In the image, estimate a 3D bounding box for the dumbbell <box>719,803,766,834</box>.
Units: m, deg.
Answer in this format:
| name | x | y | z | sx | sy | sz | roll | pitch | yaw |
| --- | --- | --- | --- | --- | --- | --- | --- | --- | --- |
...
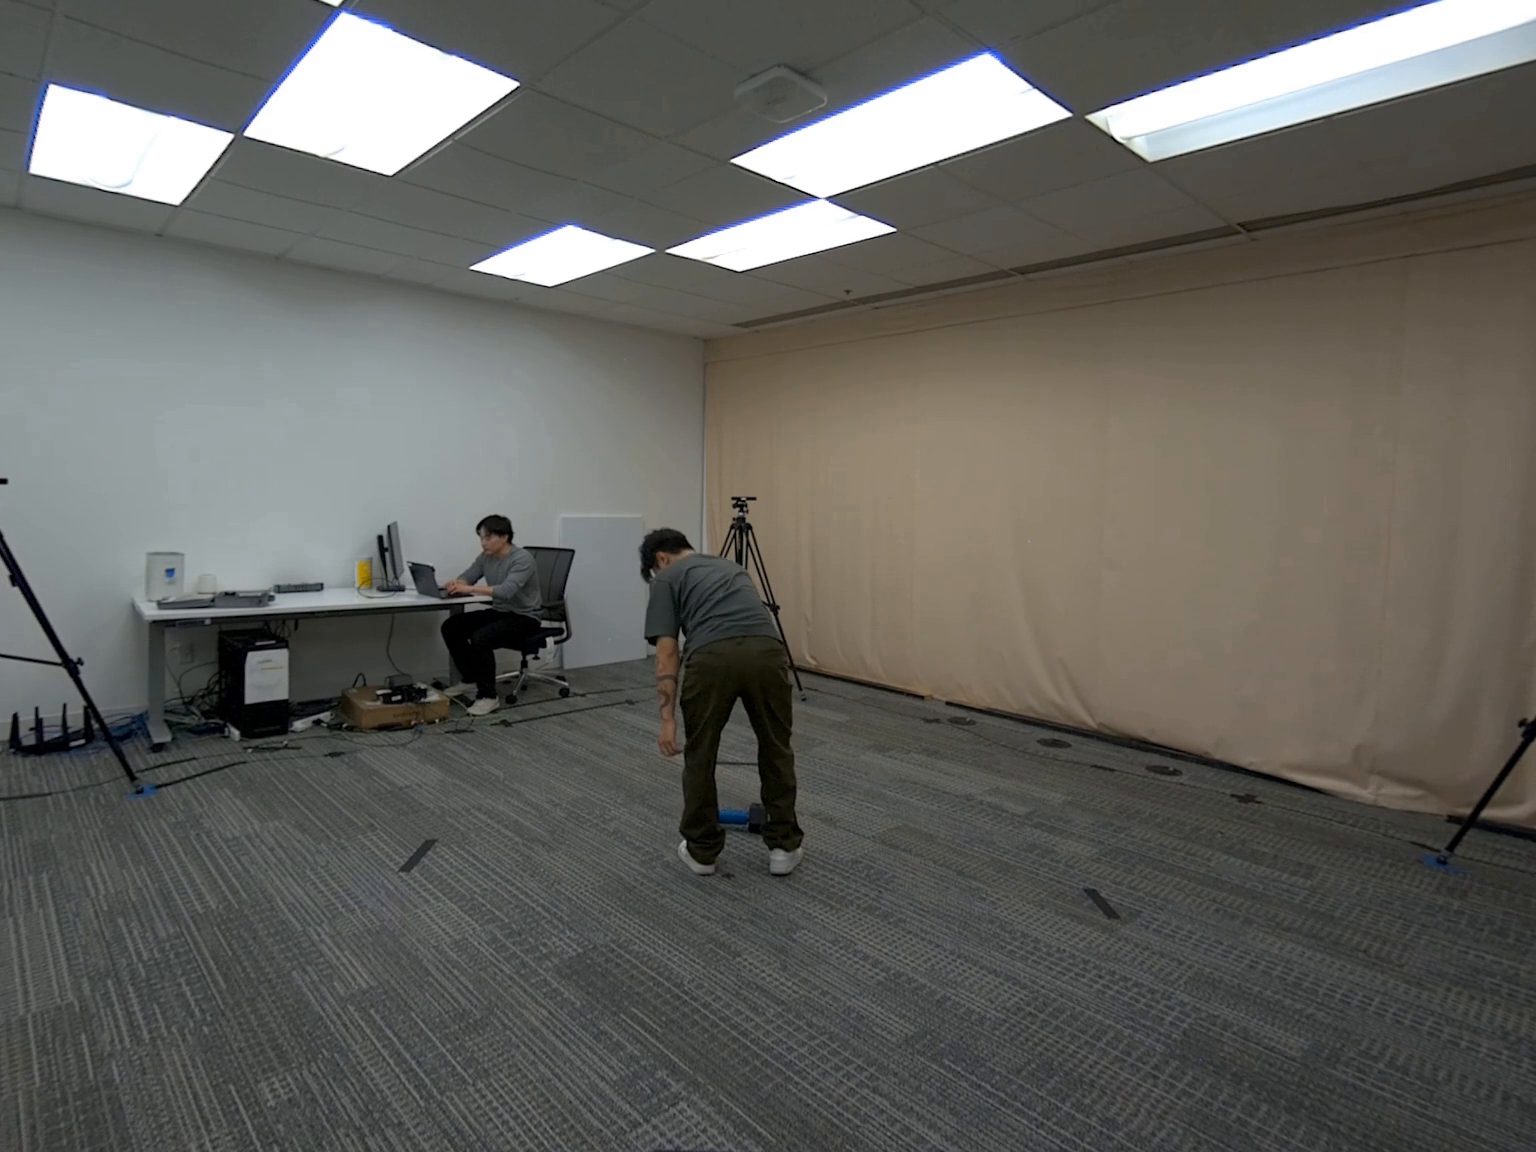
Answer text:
| name | x | y | z | sx | sy | sz | roll | pitch | yaw |
| --- | --- | --- | --- | --- | --- | --- | --- | --- | --- |
| dumbbell | -0.156 | 1.018 | 3.541 | 0.294 | 0.125 | 0.106 | 2 | -27 | 3 |
